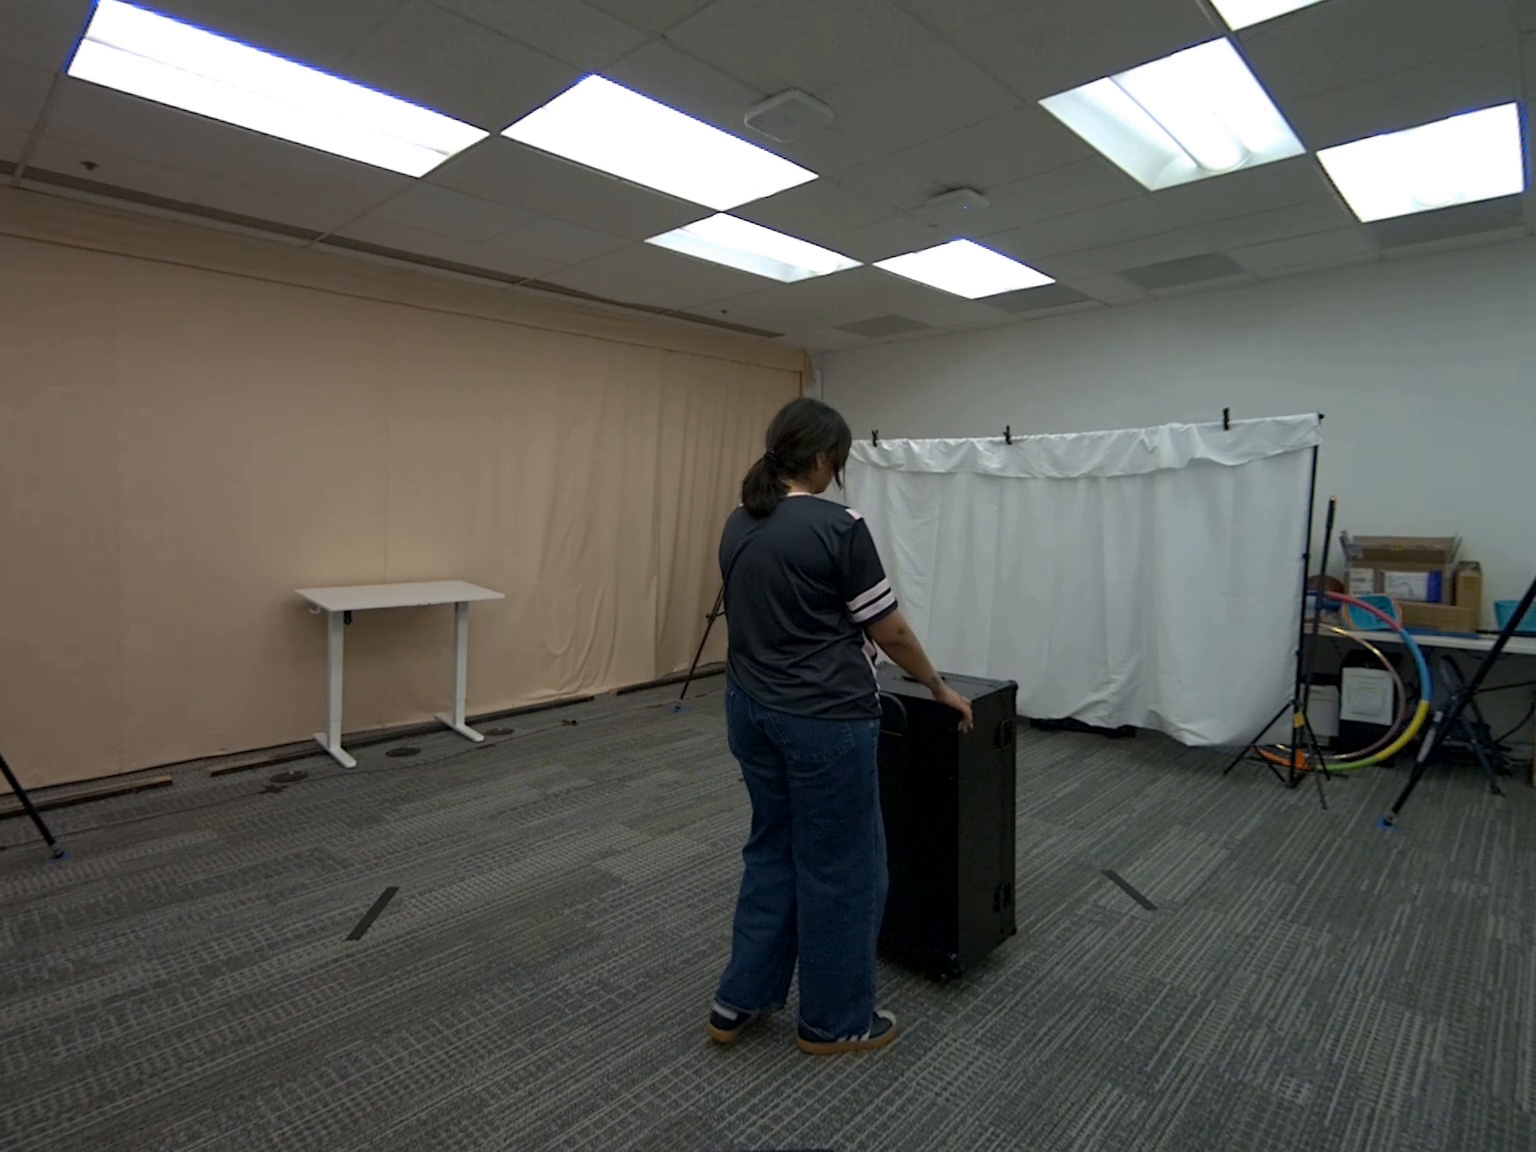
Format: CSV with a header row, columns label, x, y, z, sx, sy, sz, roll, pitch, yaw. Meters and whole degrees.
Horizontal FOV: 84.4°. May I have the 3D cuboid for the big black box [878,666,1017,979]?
label,x,y,z,sx,sy,sz,roll,pitch,yaw
big black box,0.475,0.754,2.608,0.541,0.866,0.373,3,6,43
